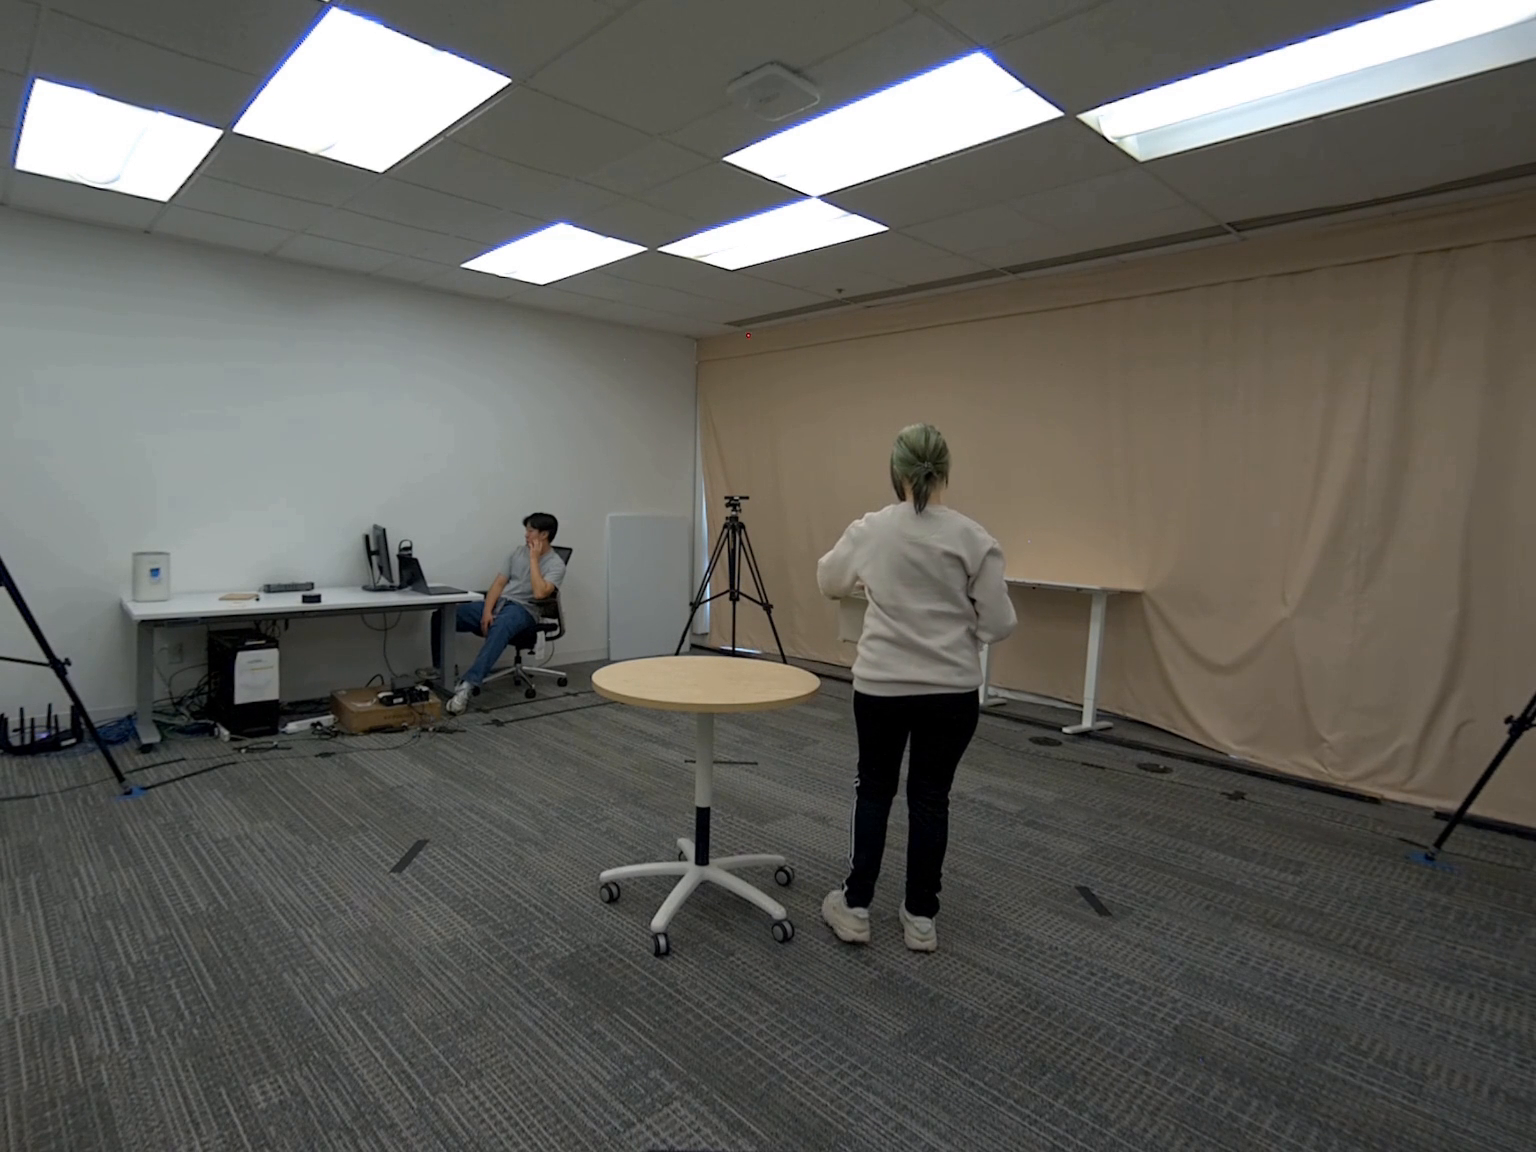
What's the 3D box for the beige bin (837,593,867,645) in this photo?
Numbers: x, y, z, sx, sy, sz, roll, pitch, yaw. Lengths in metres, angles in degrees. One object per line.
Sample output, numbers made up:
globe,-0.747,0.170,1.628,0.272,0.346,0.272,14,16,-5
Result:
beige bin,0.516,0.161,3.013,0.370,0.188,0.434,-9,14,-42
